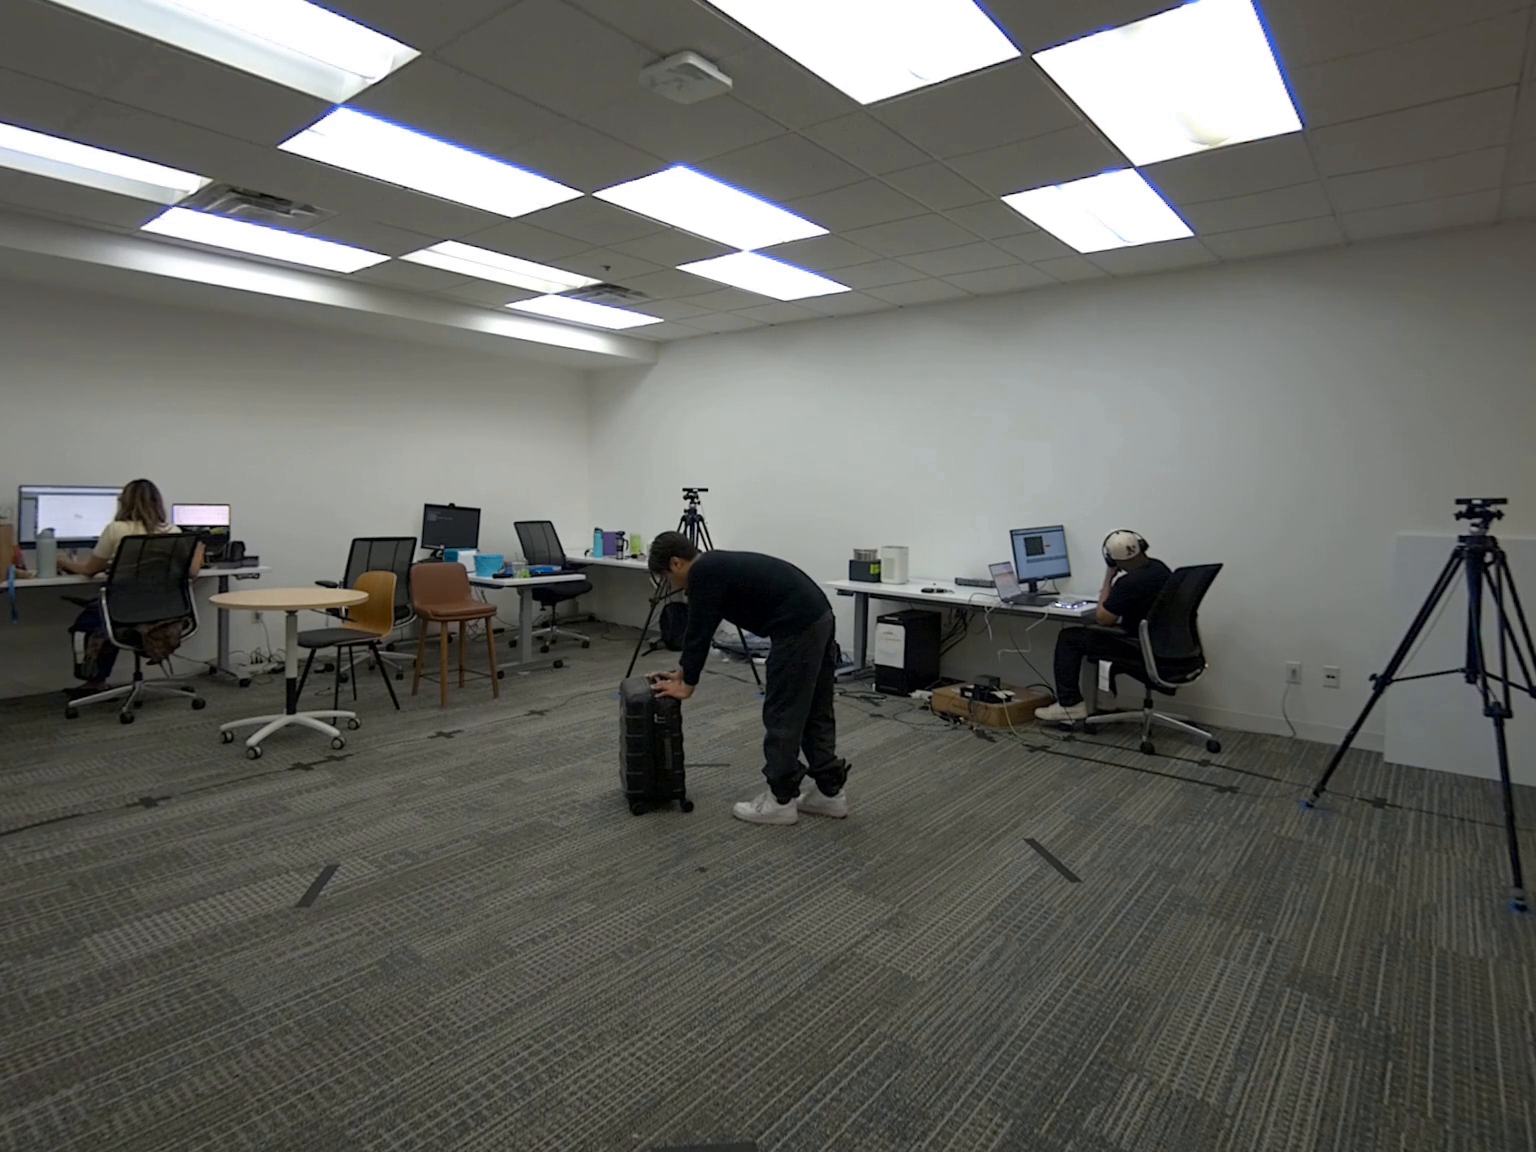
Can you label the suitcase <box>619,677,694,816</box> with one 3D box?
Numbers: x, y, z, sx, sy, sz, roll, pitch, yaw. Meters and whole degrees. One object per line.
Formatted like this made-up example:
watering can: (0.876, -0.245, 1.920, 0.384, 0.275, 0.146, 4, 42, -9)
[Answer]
suitcase: (-0.528, 0.728, 3.778, 0.245, 0.548, 0.382, -2, 4, -15)
